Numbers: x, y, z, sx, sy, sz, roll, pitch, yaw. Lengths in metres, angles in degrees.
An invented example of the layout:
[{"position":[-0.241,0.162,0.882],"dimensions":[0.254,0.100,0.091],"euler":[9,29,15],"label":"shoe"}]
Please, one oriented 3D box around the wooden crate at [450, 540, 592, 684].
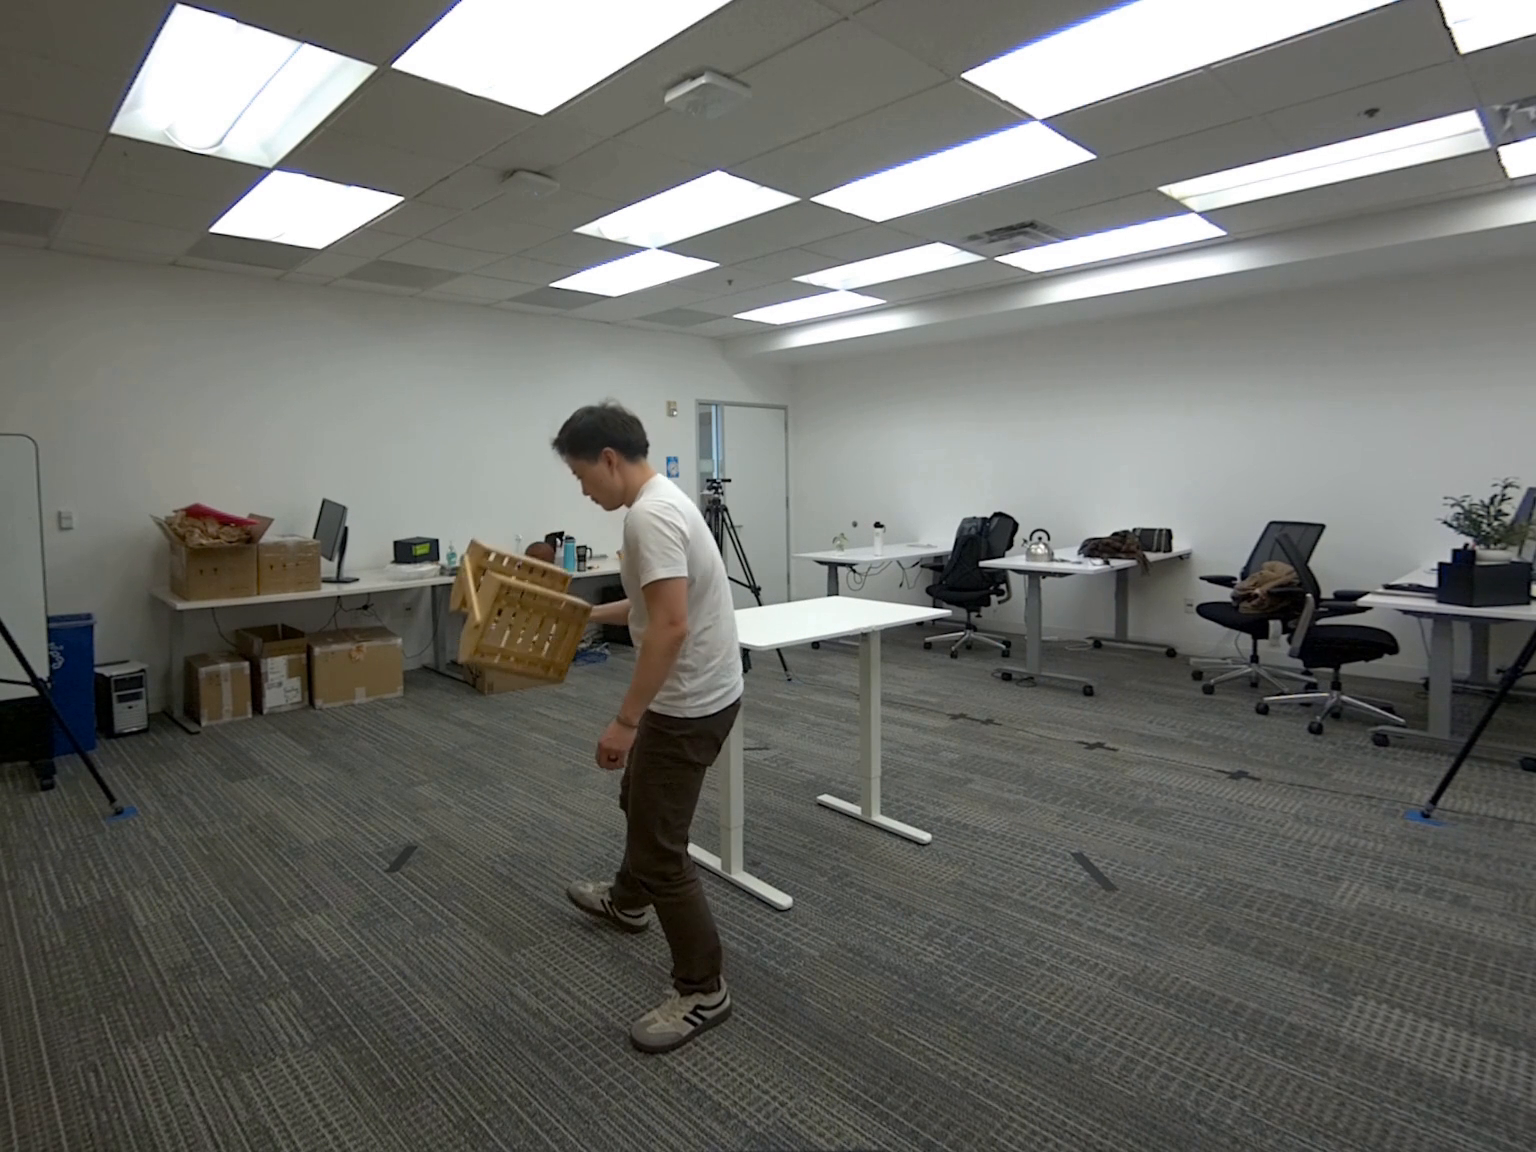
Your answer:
[{"position":[-0.707,0.110,2.420],"dimensions":[0.312,0.302,0.283],"euler":[23,-1,-41],"label":"wooden crate"}]
